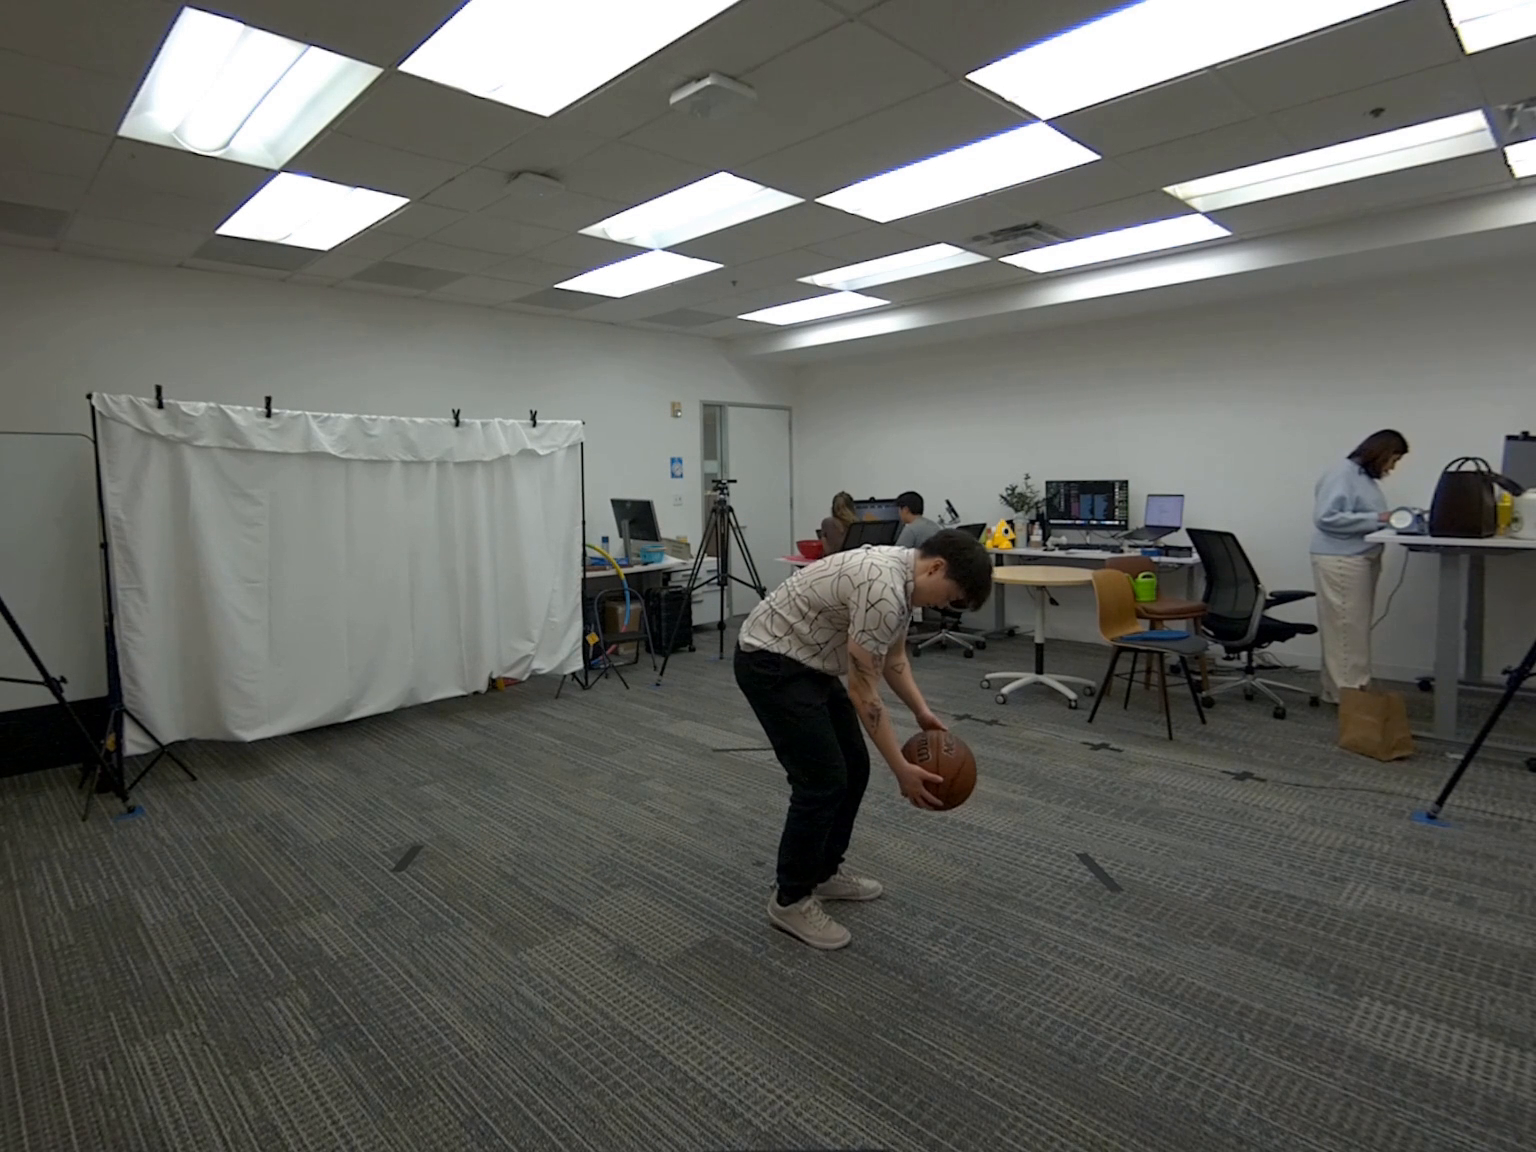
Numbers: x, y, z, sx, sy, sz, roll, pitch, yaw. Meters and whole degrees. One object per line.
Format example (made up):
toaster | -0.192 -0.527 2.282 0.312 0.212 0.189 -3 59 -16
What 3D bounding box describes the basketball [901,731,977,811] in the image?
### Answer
basketball | 0.510 0.591 2.597 0.236 0.235 0.237 -1 5 -2
